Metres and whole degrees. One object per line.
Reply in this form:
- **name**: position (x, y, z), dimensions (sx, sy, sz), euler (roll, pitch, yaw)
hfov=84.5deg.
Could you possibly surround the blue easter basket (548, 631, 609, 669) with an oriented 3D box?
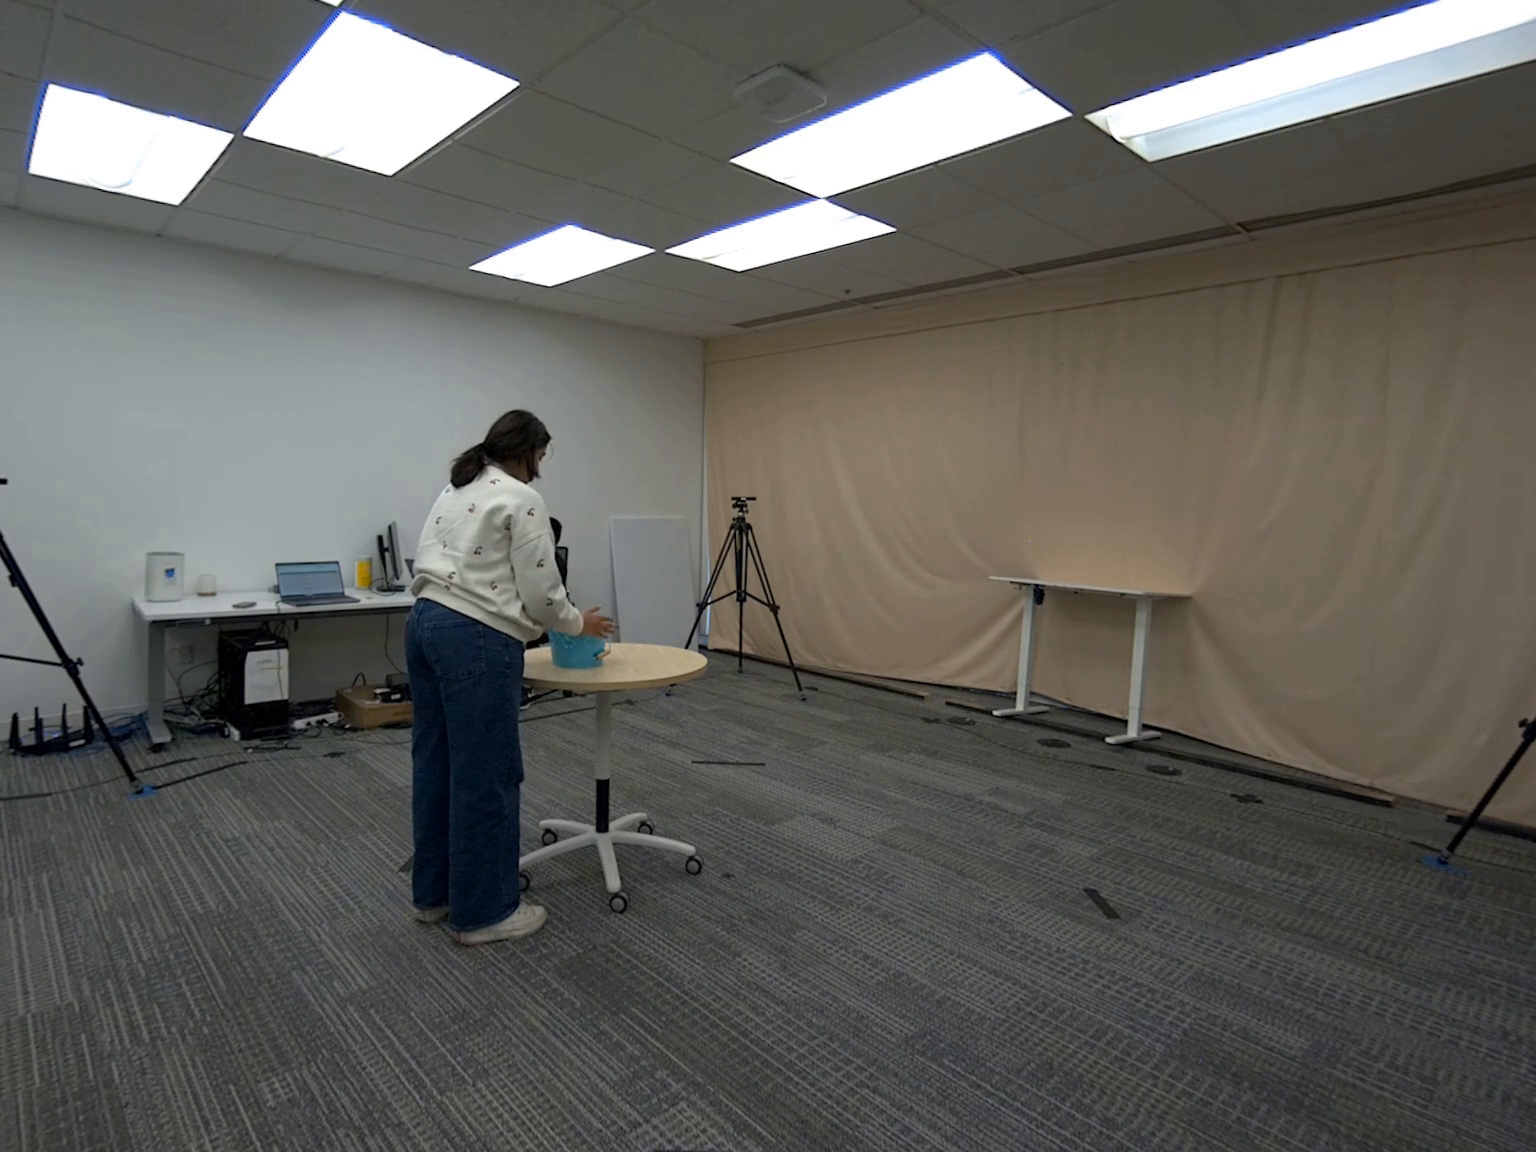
- **blue easter basket**: position (-0.700, 0.248, 3.039), dimensions (0.243, 0.155, 0.244), euler (-1, 5, -1)
